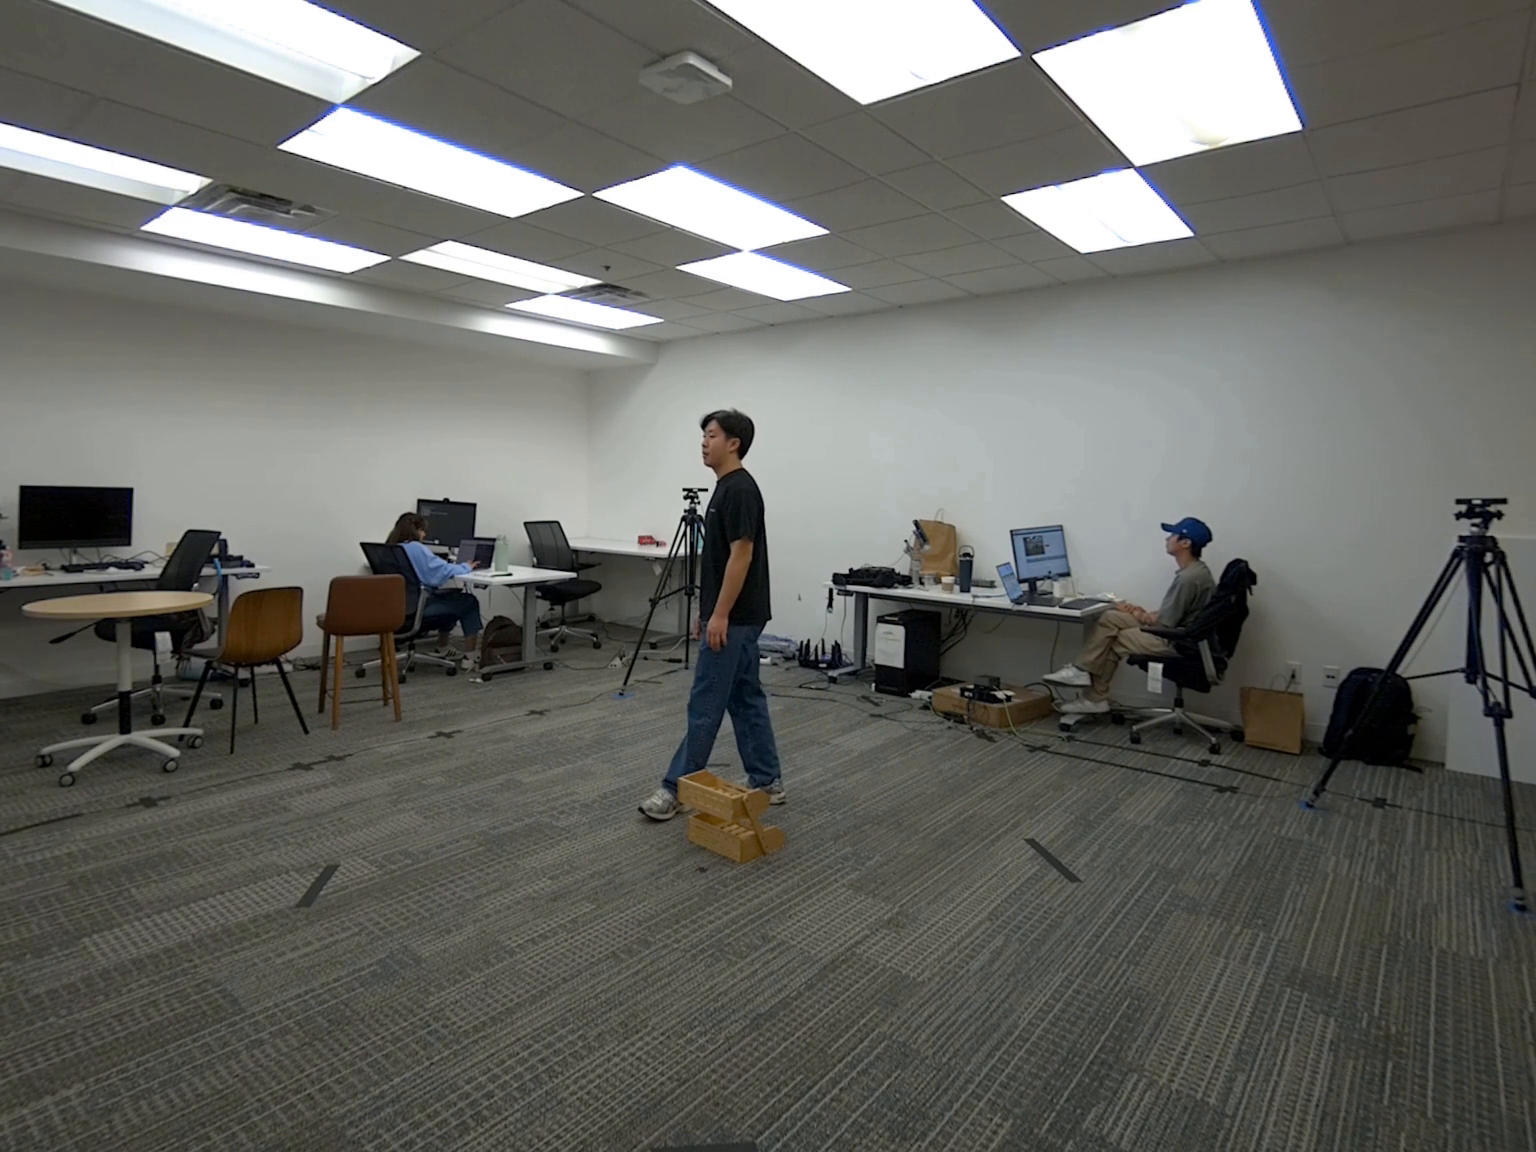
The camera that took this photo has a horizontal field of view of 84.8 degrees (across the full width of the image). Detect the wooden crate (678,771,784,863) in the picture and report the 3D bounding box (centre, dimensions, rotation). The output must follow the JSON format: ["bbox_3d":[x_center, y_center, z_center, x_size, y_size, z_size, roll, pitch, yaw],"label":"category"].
[{"bbox_3d":[-0.155,0.920,3.331,0.336,0.272,0.293,6,8,43],"label":"wooden crate"}]
